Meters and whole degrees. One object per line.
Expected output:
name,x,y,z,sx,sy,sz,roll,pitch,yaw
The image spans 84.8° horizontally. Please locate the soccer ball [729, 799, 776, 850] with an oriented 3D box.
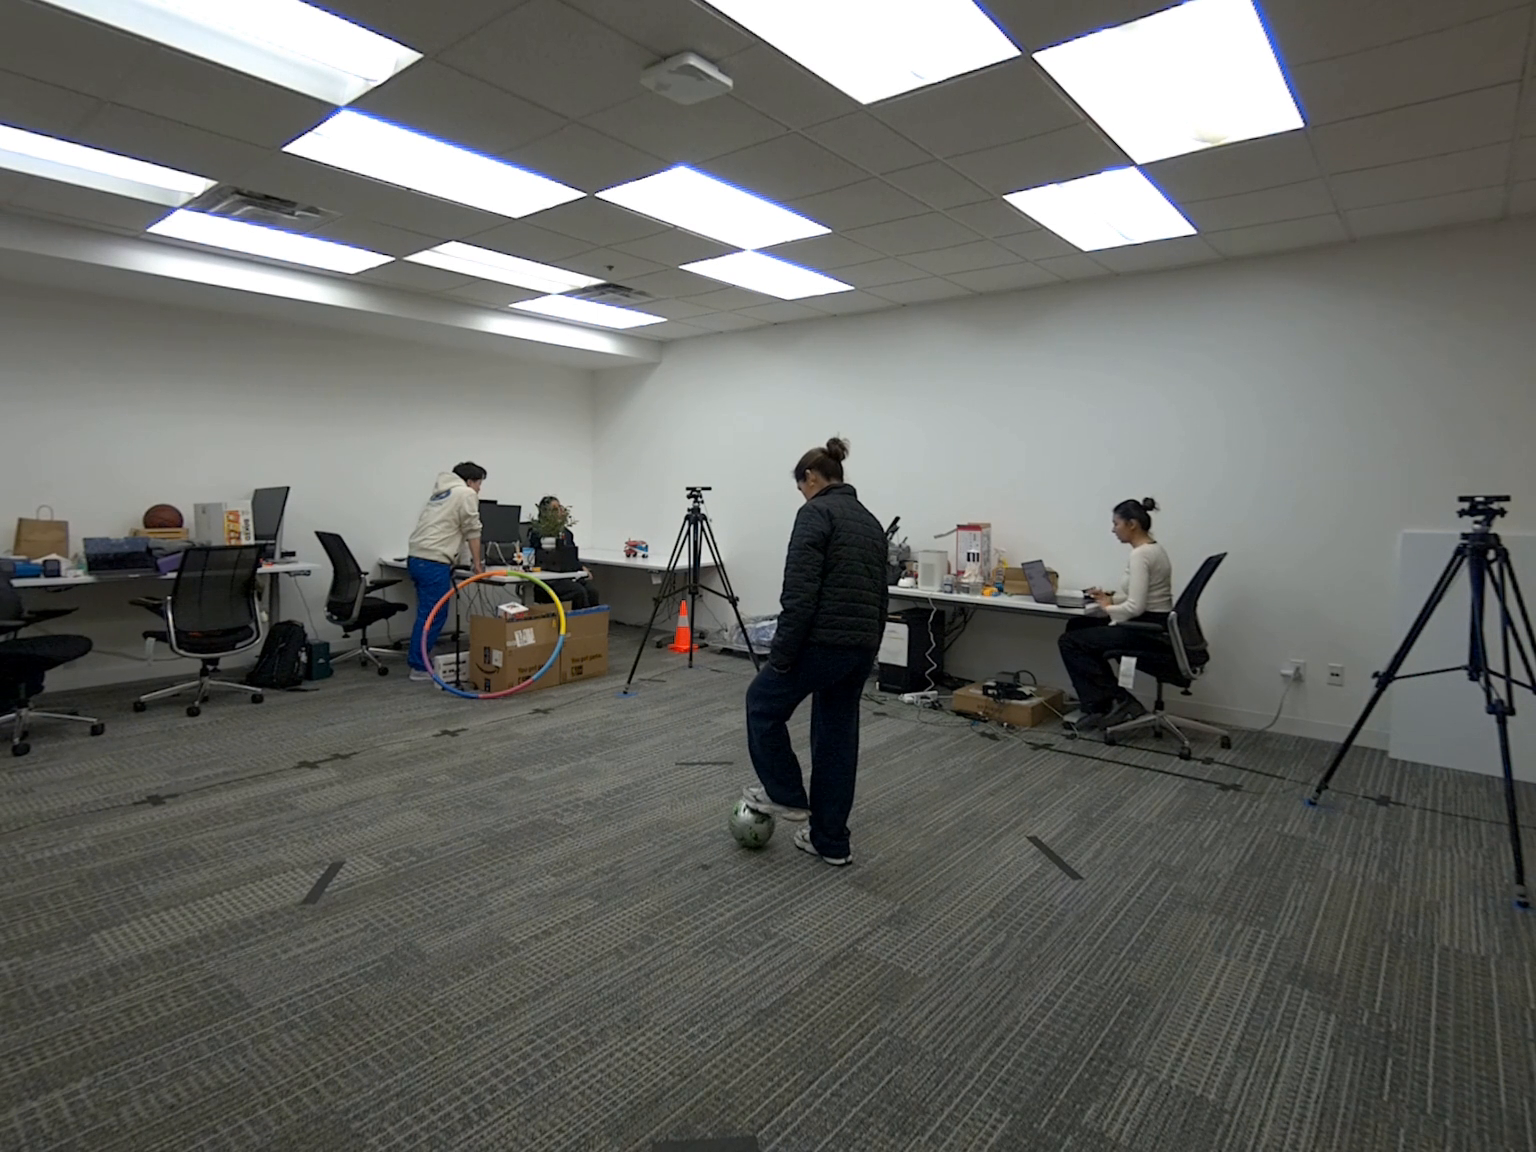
soccer ball,-0.069,0.952,3.315,0.187,0.187,0.188,1,4,-2
